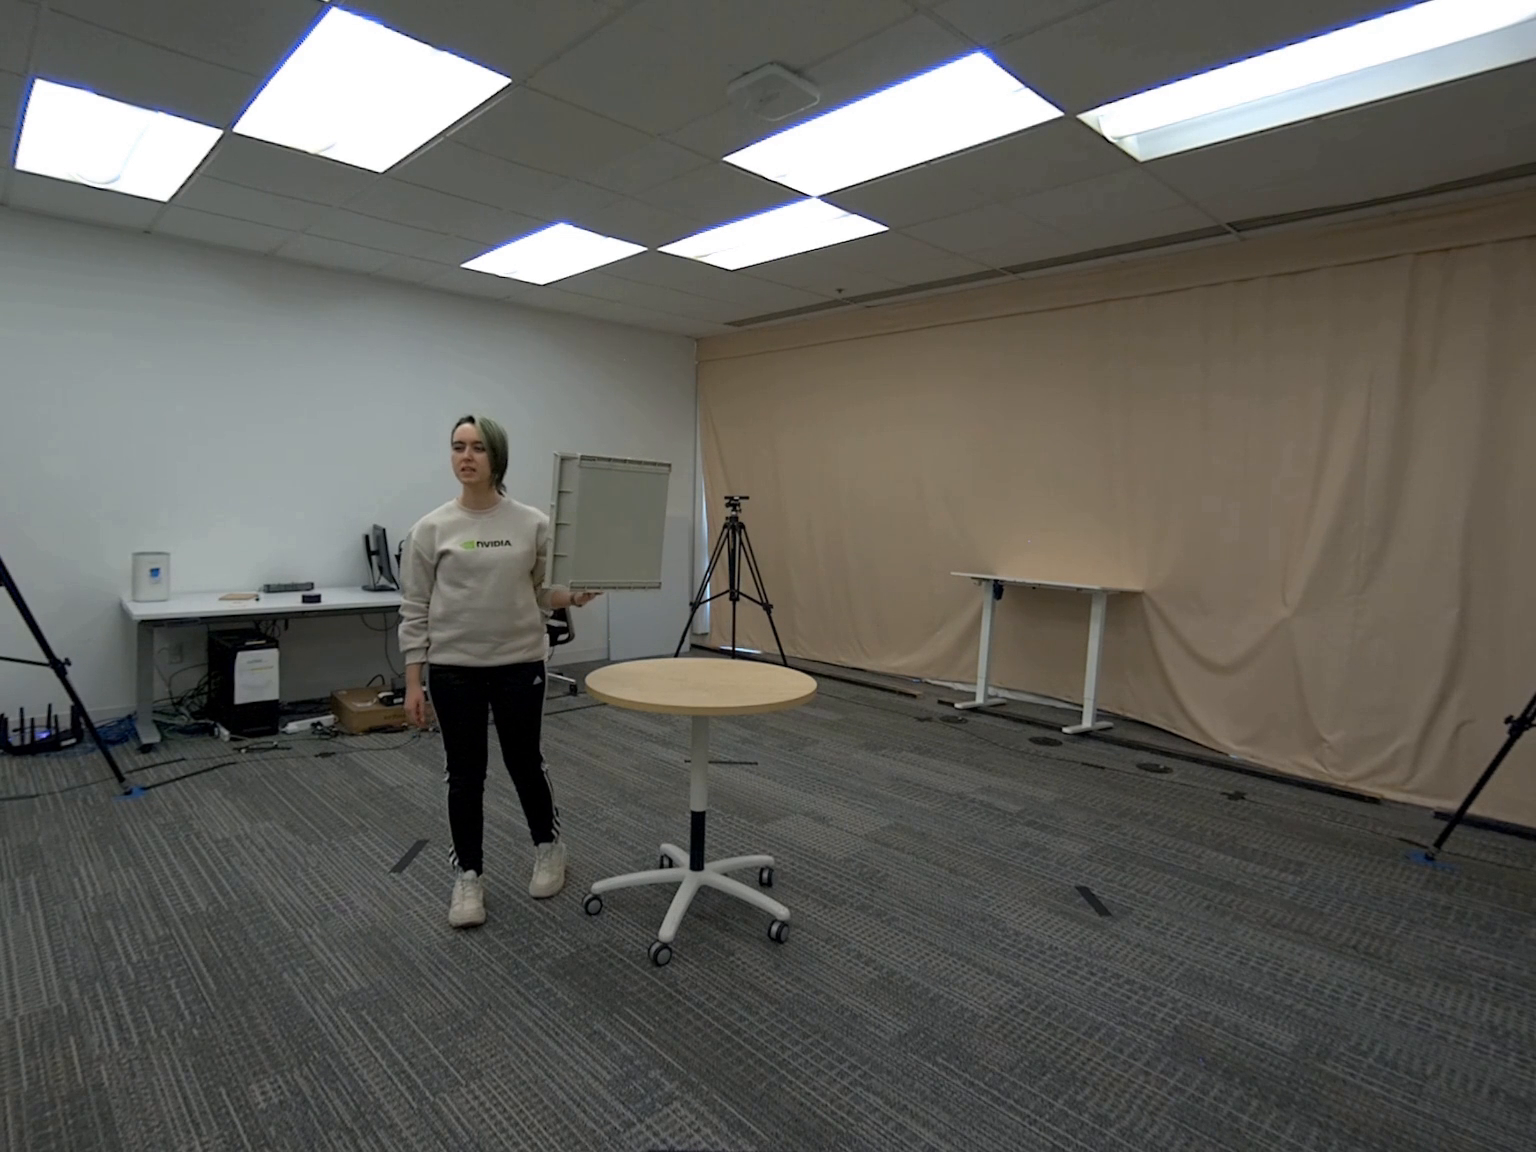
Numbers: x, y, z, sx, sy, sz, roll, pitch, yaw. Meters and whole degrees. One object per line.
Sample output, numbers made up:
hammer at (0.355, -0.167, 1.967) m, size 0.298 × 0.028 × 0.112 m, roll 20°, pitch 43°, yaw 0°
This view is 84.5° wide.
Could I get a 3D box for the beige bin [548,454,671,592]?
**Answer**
beige bin at (-0.522, -0.171, 2.642) m, size 0.369 × 0.421 × 0.194 m, roll 2°, pitch 6°, yaw -35°
